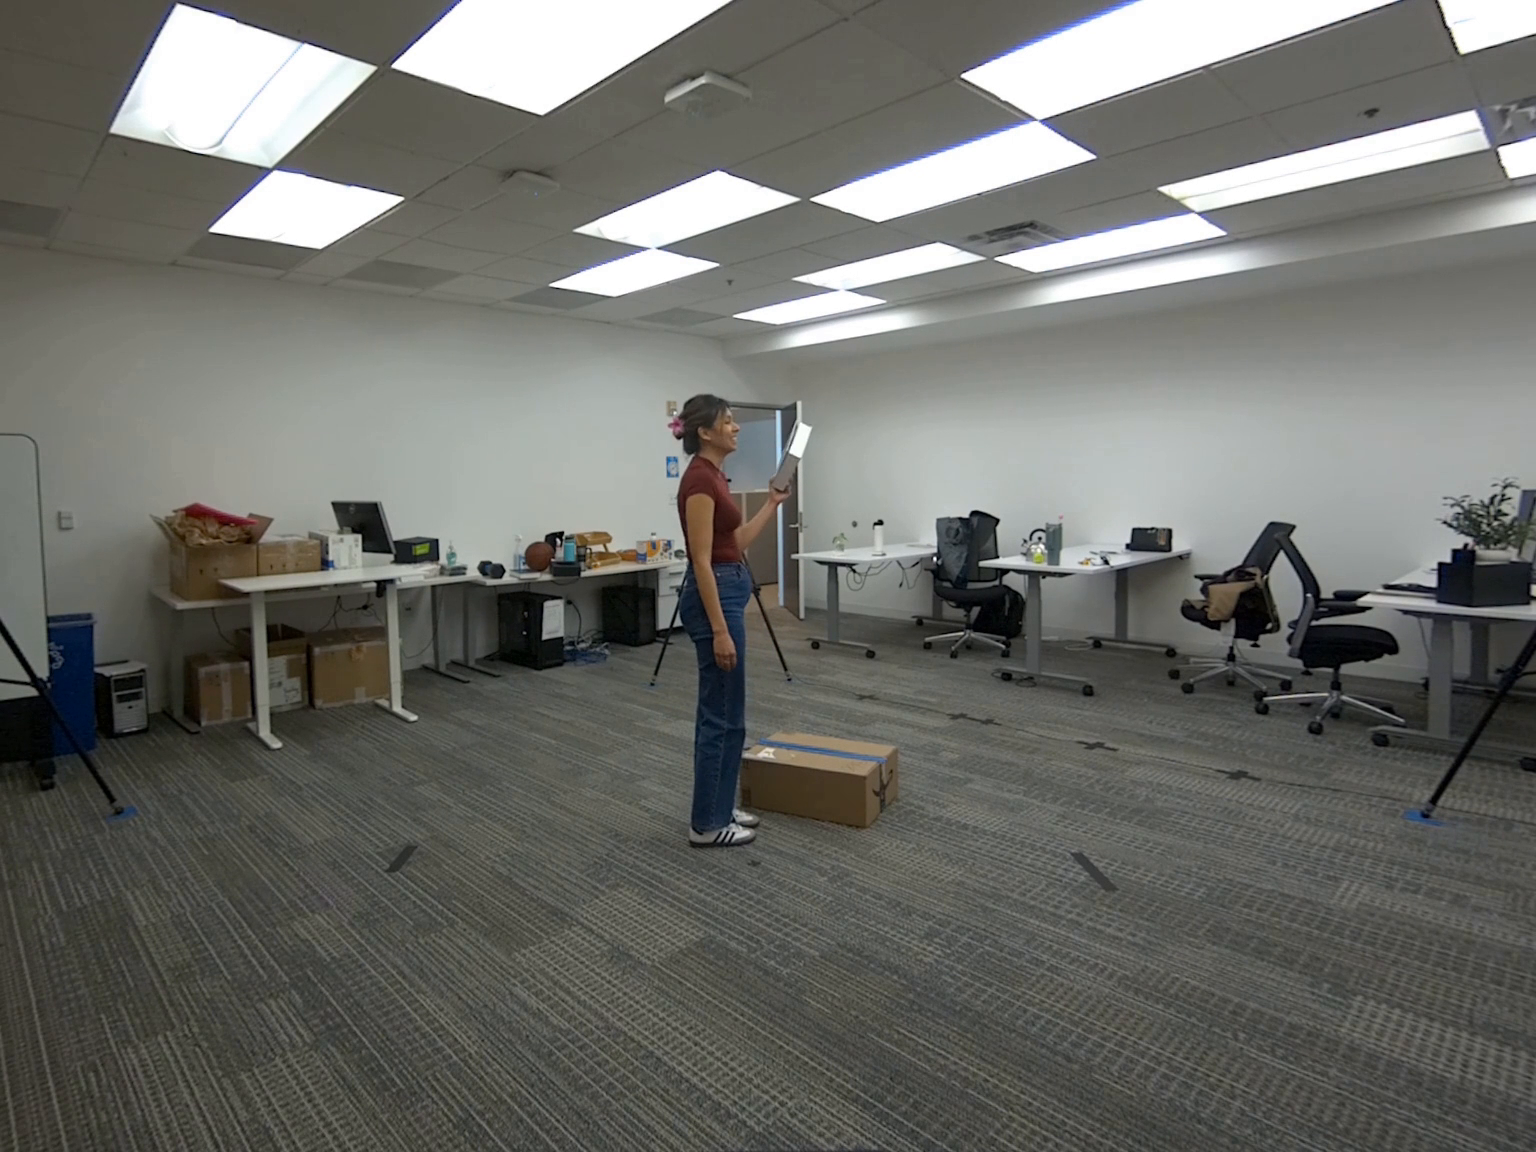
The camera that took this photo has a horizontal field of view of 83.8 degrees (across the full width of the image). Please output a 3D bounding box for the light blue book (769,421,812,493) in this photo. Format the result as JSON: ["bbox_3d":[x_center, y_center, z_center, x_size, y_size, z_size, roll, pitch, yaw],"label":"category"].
[{"bbox_3d":[0.100,-0.508,3.601,0.059,0.189,0.265,23,41,-6],"label":"light blue book"}]
